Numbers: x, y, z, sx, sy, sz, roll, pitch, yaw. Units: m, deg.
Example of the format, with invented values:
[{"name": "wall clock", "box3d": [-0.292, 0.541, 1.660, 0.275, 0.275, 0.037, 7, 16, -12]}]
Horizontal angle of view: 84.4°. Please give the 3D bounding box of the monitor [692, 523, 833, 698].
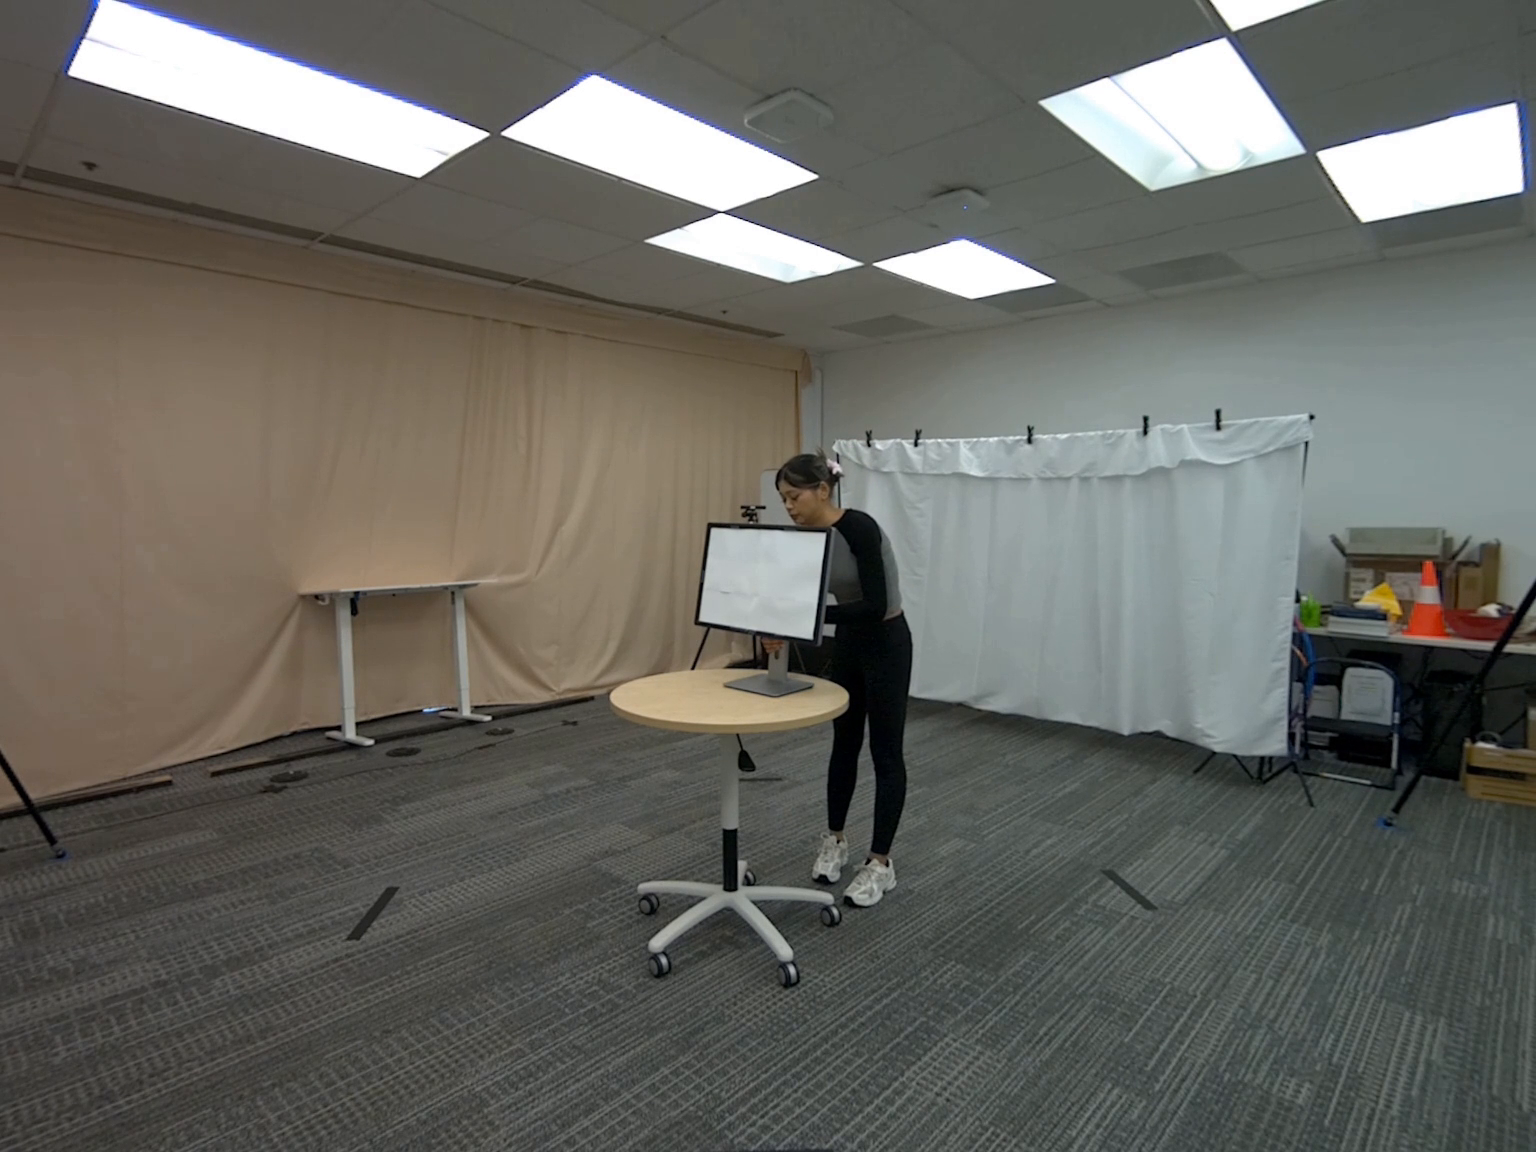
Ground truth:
[{"name": "monitor", "box3d": [0.004, 0.105, 2.783, 0.557, 0.521, 0.181, 3, 6, 42]}]
